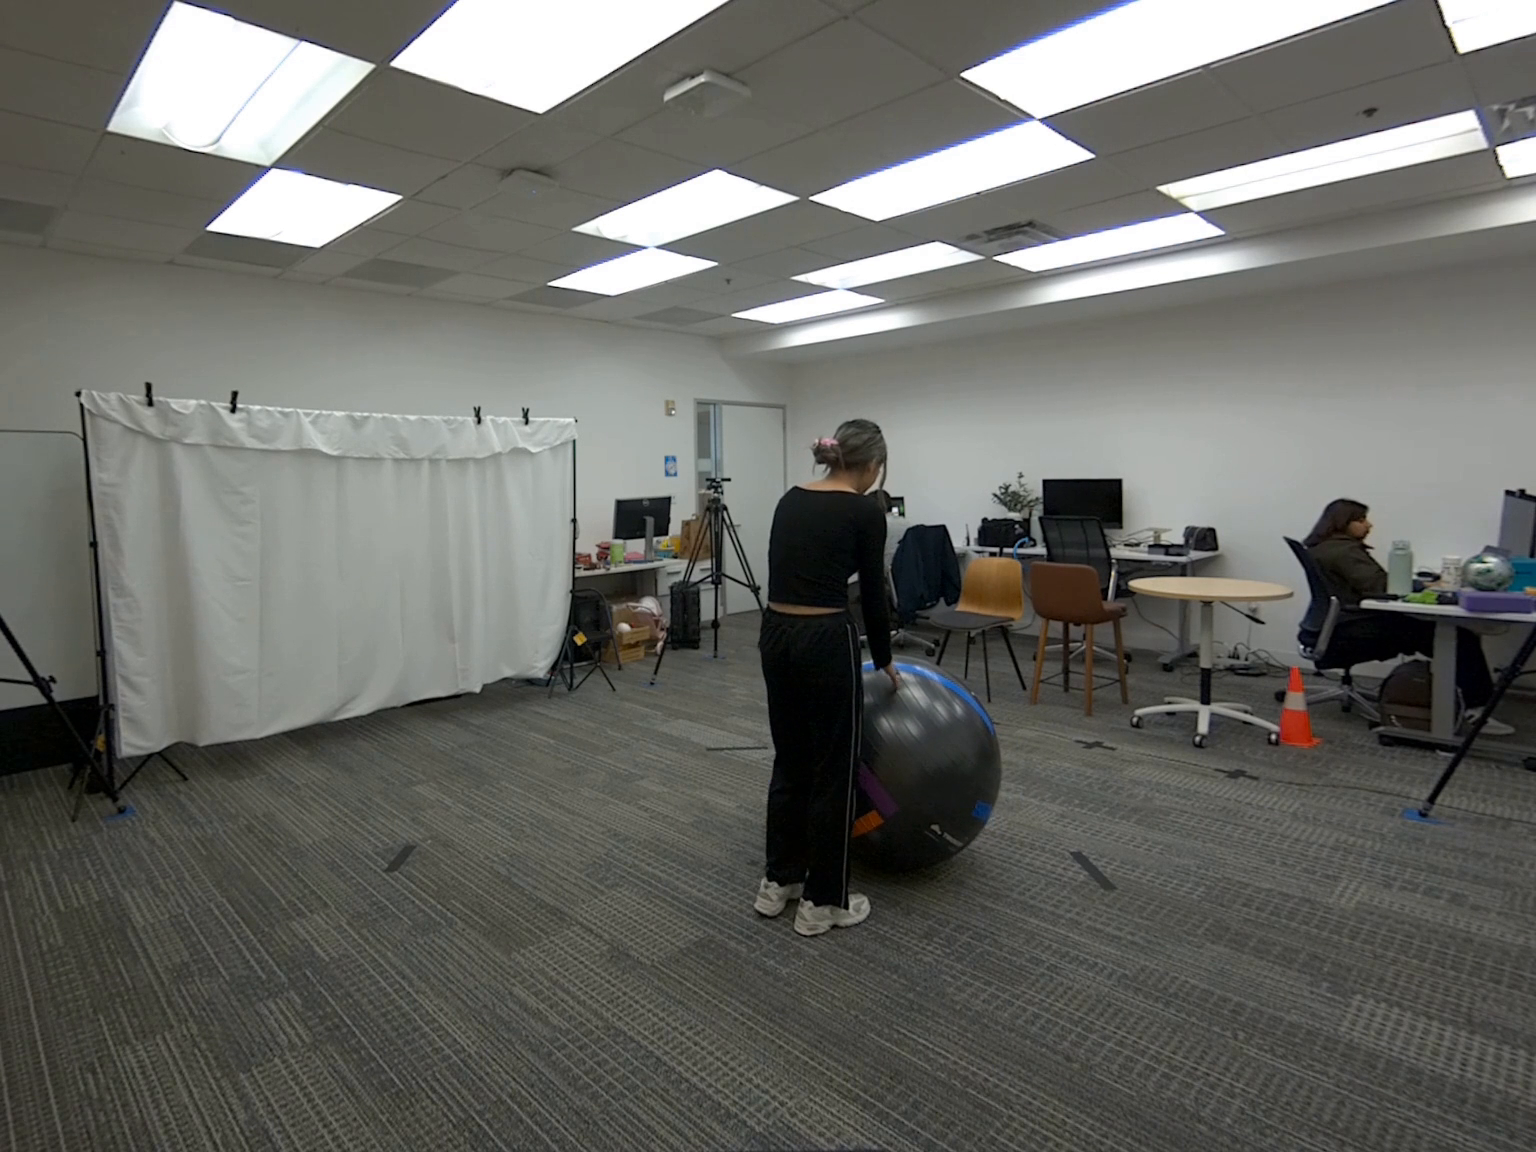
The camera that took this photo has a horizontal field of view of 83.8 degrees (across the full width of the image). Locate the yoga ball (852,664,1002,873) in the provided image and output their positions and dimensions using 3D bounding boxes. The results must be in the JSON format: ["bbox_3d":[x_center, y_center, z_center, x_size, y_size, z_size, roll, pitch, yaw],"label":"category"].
[{"bbox_3d":[0.467,0.678,3.105,0.757,0.755,0.762,-1,5,-2],"label":"yoga ball"}]
